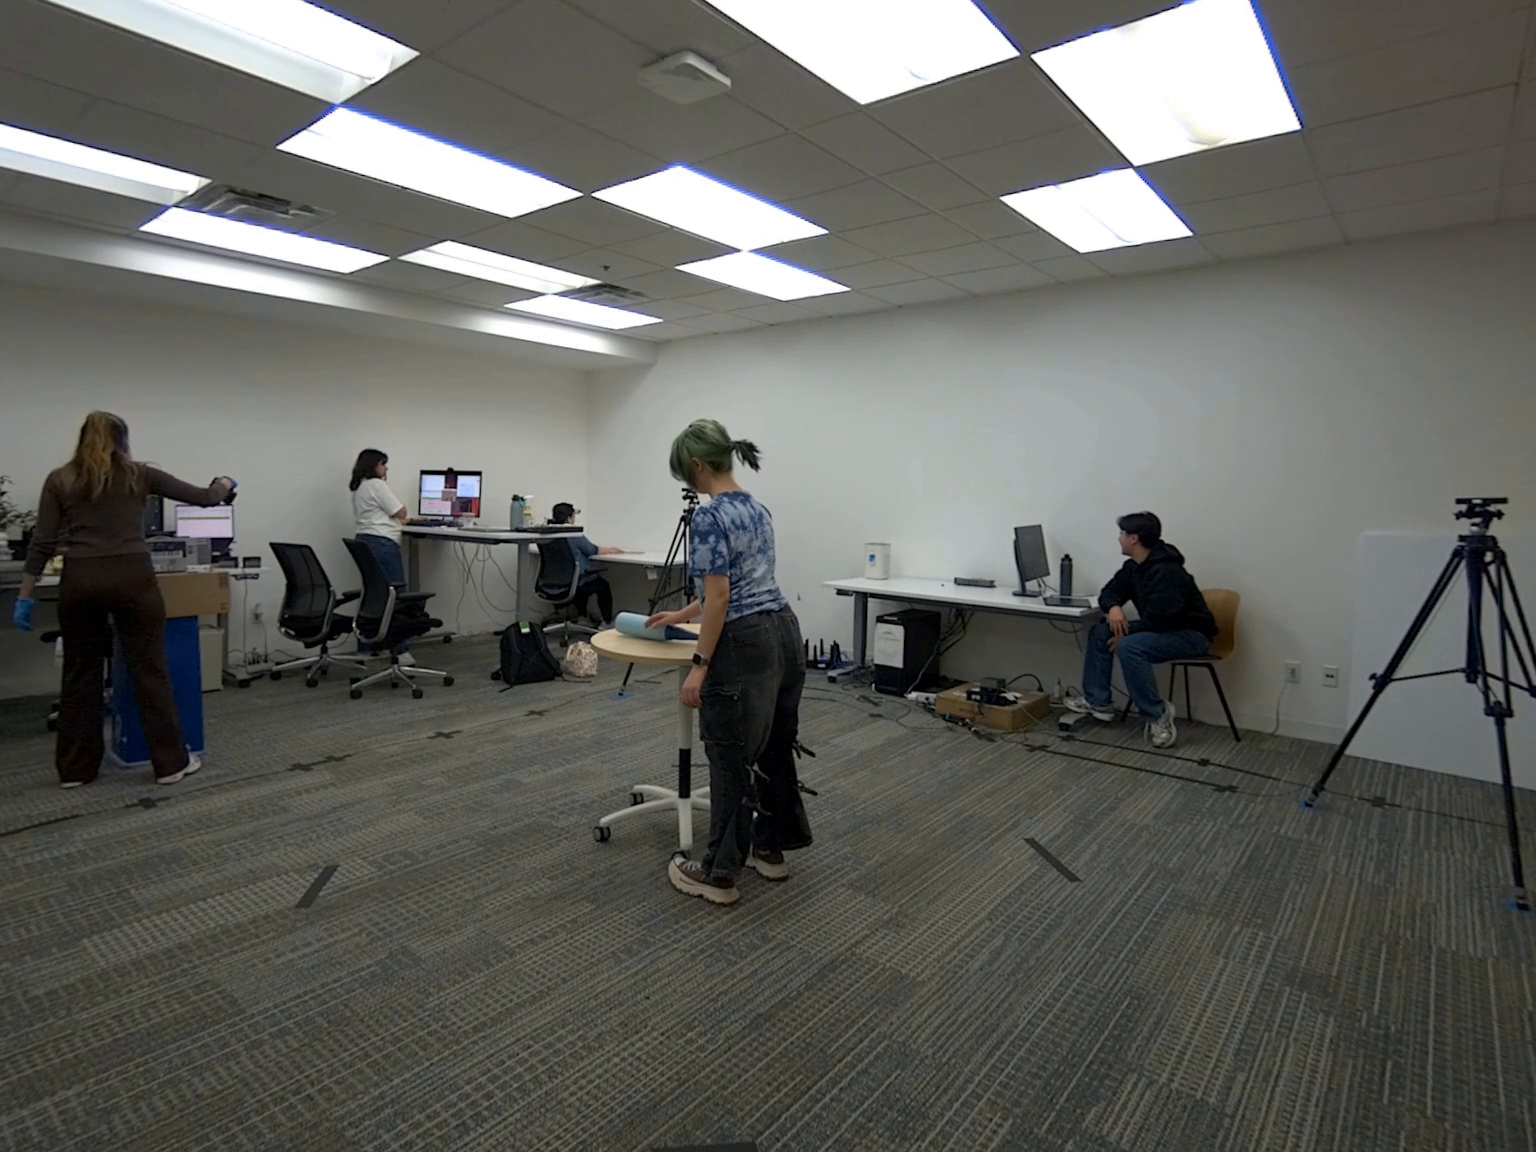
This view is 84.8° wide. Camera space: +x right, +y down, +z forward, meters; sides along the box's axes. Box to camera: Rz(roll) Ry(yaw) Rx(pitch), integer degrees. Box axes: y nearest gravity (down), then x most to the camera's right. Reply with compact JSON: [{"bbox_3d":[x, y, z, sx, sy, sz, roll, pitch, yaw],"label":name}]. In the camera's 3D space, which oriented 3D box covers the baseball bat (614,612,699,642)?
[{"bbox_3d":[-0.381,0.226,3.355,0.560,0.088,0.087,9,7,29],"label":"baseball bat"}]
